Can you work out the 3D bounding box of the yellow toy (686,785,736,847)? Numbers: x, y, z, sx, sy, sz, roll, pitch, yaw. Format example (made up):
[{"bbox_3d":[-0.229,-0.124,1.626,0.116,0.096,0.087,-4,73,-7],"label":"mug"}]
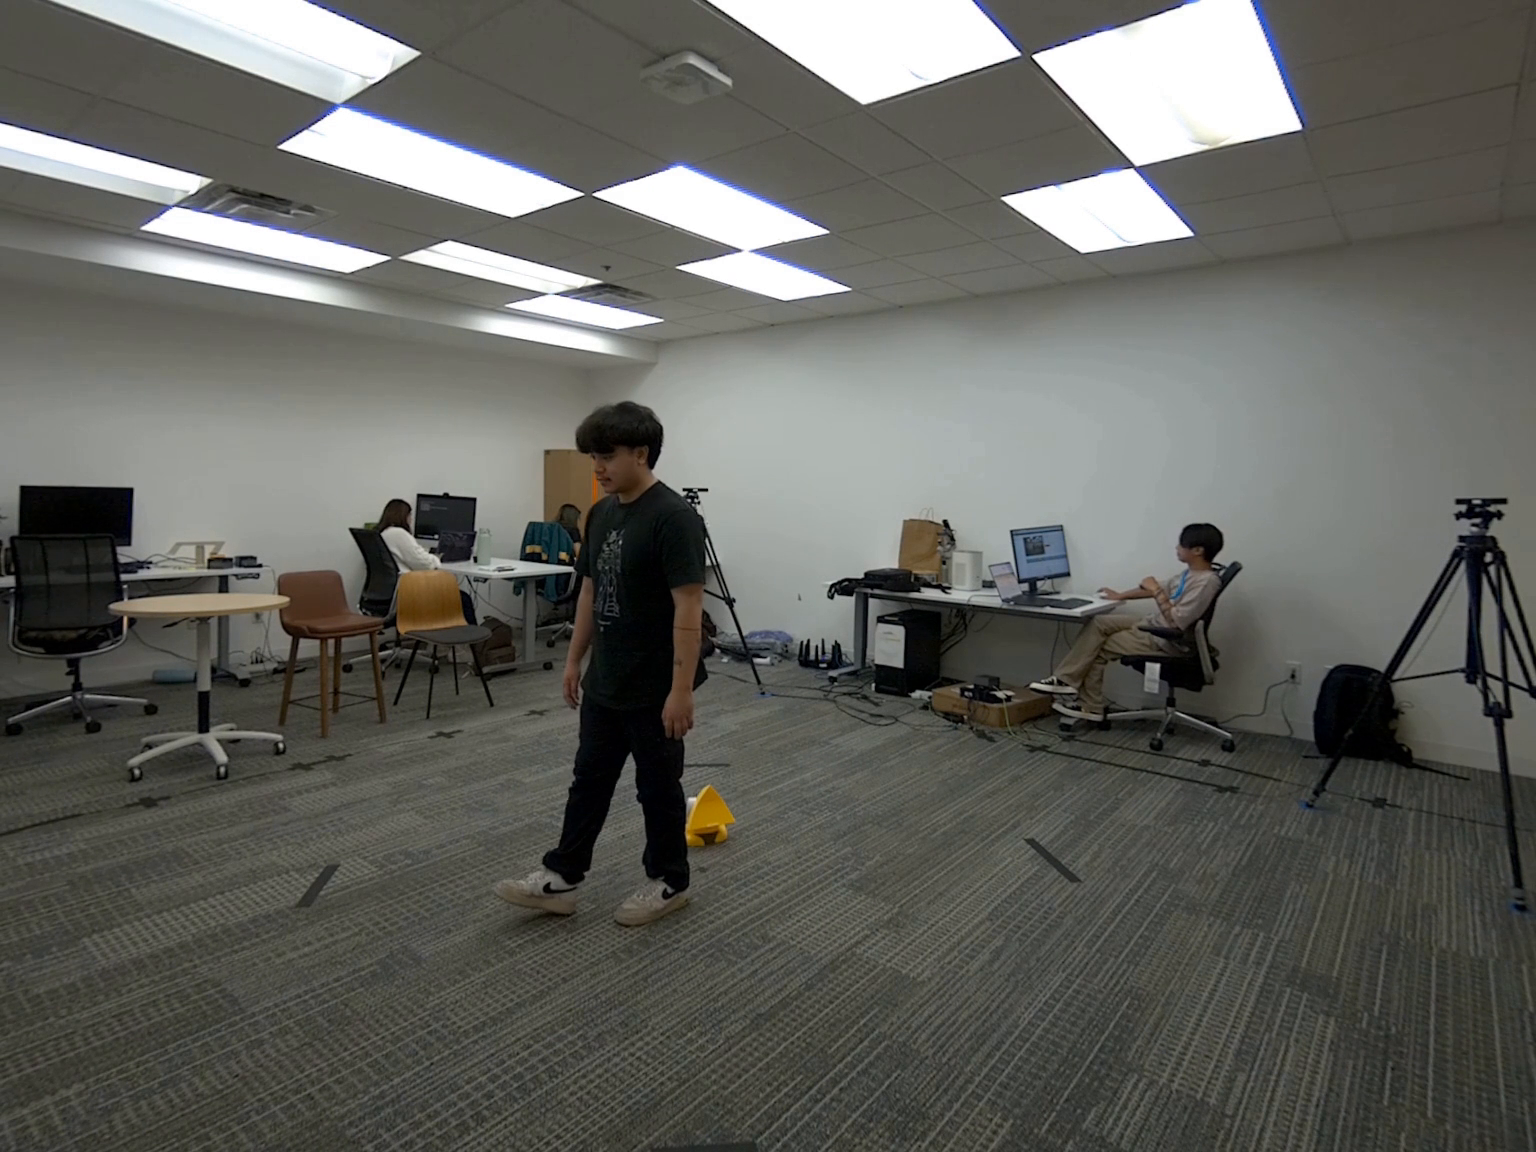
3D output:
[{"bbox_3d":[-0.269,0.930,3.396,0.200,0.230,0.198,-1,3,-27],"label":"yellow toy"}]
